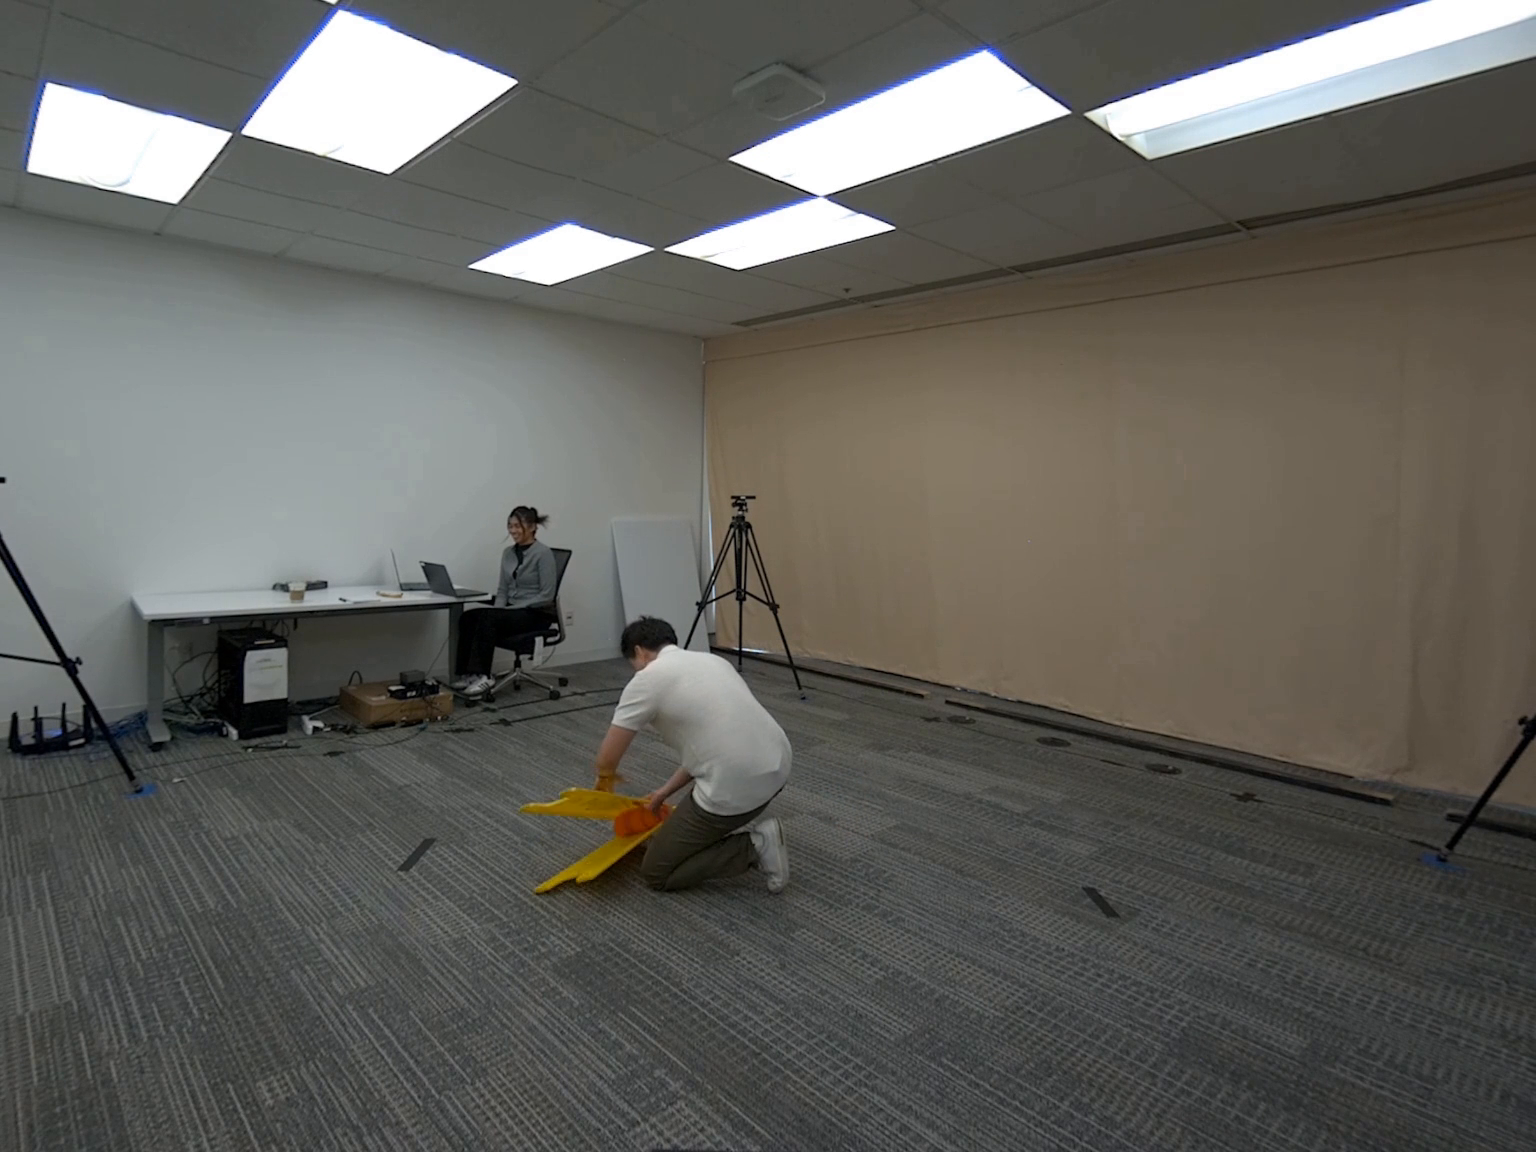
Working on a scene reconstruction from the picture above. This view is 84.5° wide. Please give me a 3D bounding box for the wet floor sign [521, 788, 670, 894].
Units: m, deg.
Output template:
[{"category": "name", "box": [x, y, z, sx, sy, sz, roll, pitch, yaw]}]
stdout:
[{"category": "wet floor sign", "box": [-0.586, 0.948, 3.169, 0.285, 0.294, 0.630, -24, -17, 27]}]
